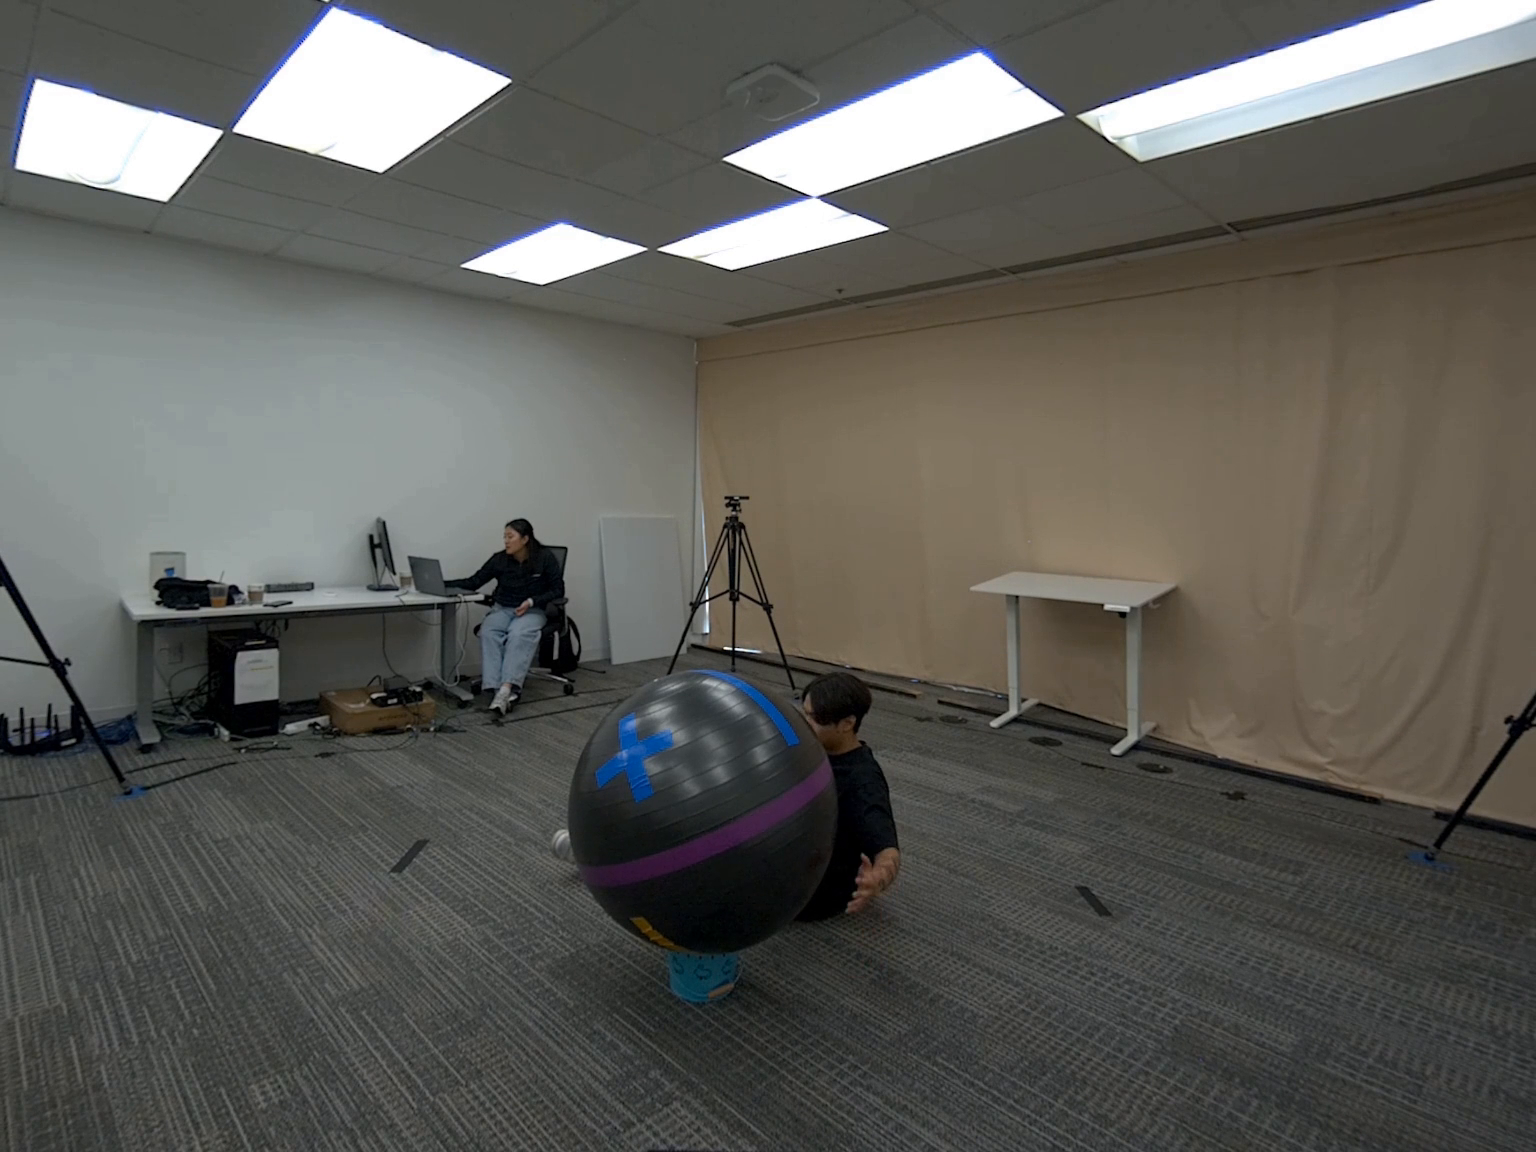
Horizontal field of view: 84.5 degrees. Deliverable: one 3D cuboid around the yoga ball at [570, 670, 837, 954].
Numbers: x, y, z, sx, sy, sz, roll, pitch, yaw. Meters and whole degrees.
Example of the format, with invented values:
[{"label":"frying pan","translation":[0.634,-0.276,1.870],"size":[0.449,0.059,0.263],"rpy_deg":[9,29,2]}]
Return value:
[{"label":"yoga ball","translation":[-0.189,0.667,2.375],"size":[0.757,0.756,0.761],"rpy_deg":[1,4,-1]}]
